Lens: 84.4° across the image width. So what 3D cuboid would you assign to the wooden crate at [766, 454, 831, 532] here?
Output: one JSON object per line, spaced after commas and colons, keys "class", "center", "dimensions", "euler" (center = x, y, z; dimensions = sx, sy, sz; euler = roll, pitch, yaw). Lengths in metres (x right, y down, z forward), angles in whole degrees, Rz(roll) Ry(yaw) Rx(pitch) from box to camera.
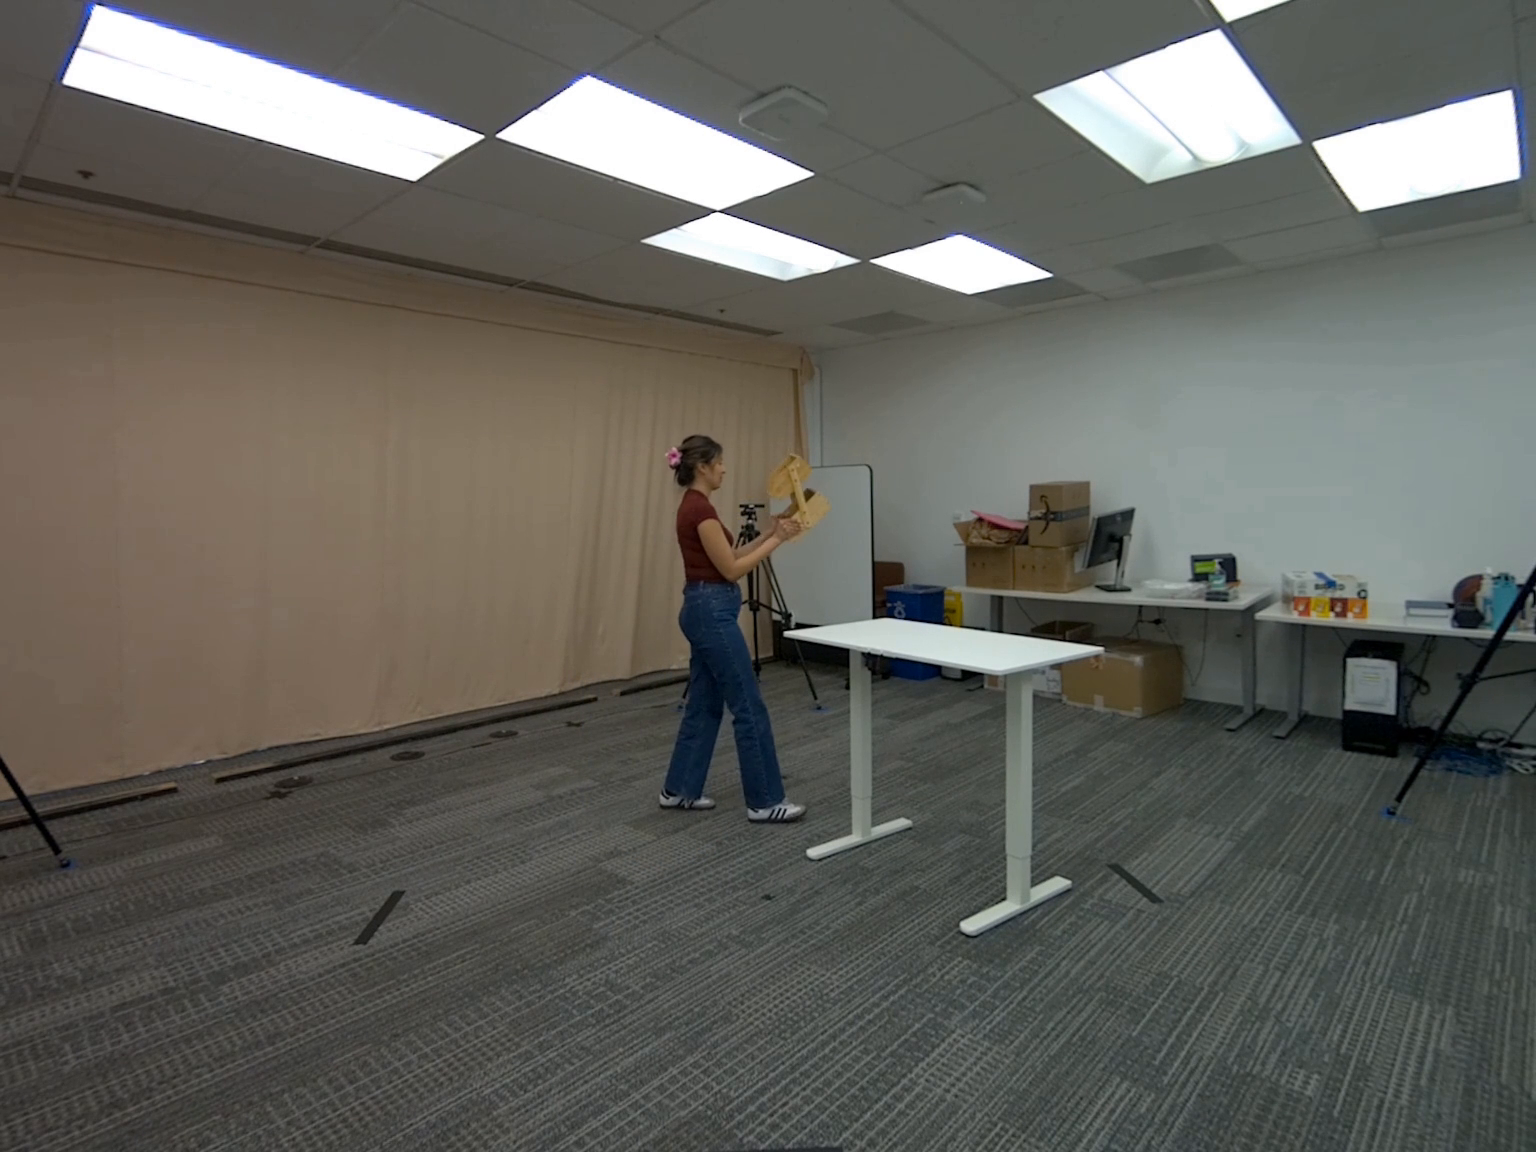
{"class": "wooden crate", "center": [0.104, -0.351, 3.787], "dimensions": [0.302, 0.271, 0.327], "euler": [-45, 8, 3]}
